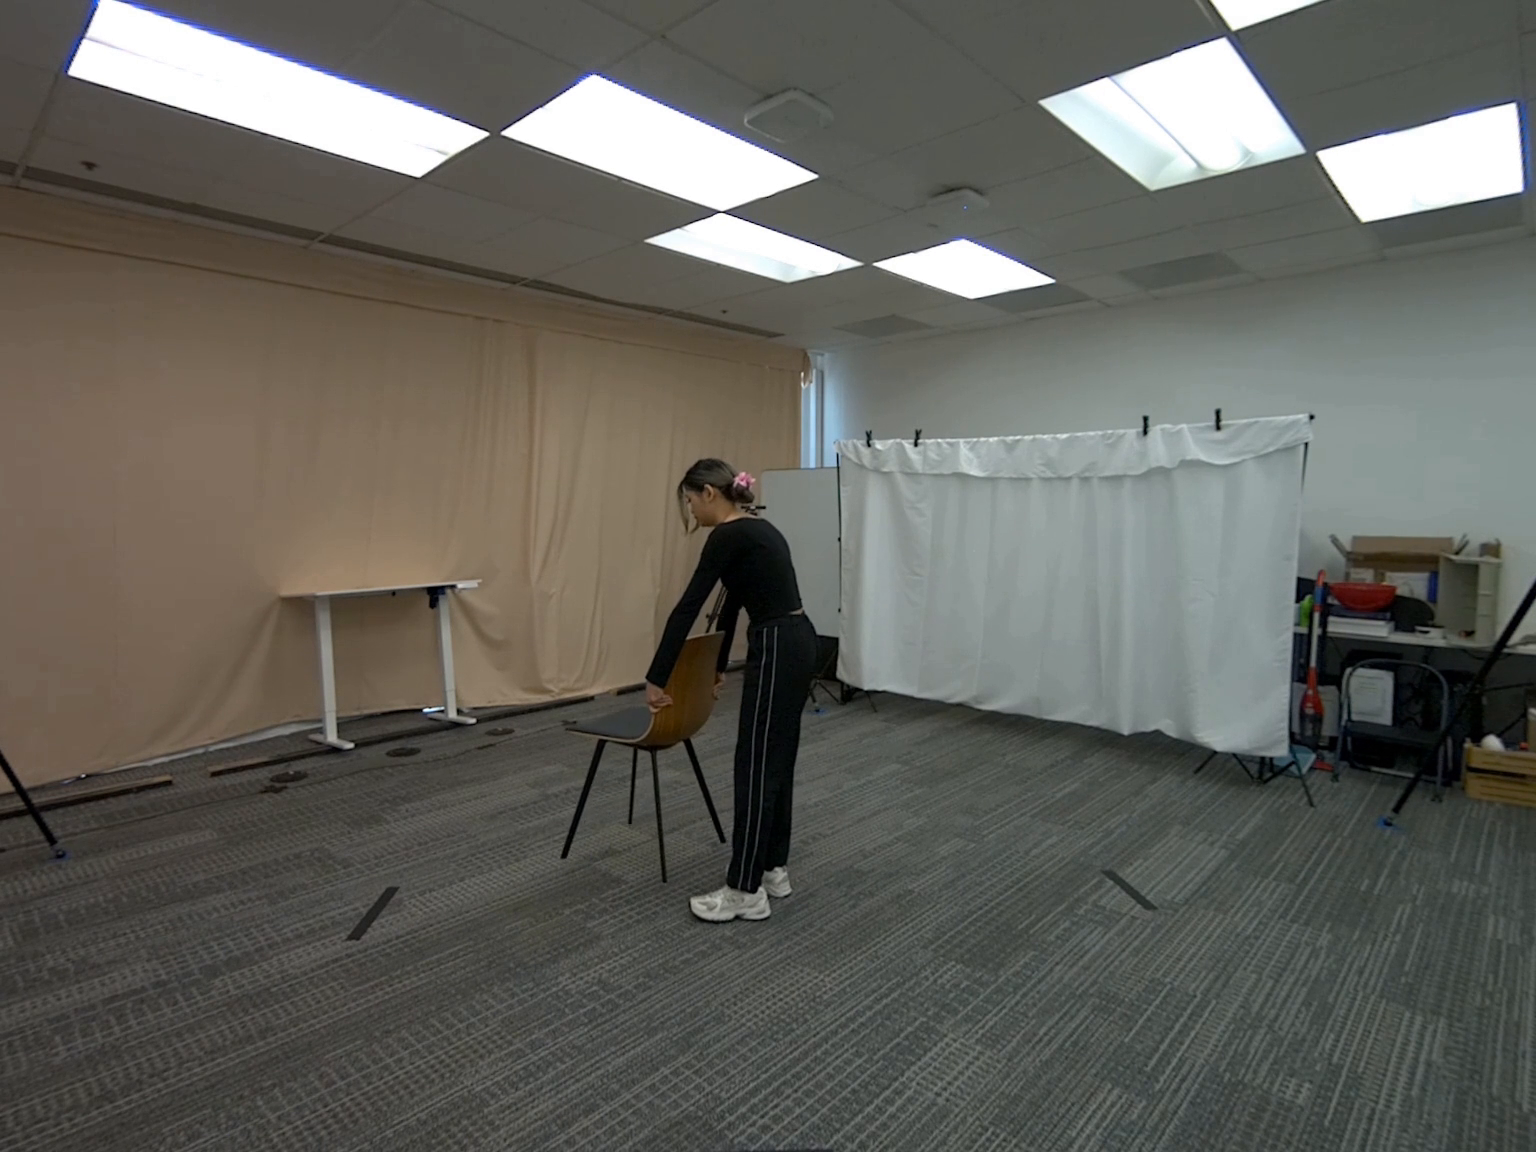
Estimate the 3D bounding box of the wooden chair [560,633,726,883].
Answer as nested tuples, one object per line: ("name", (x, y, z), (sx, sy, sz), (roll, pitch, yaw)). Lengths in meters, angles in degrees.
("wooden chair", (-0.468, 0.618, 3.176), (0.538, 0.875, 0.466), (7, 4, 27))
